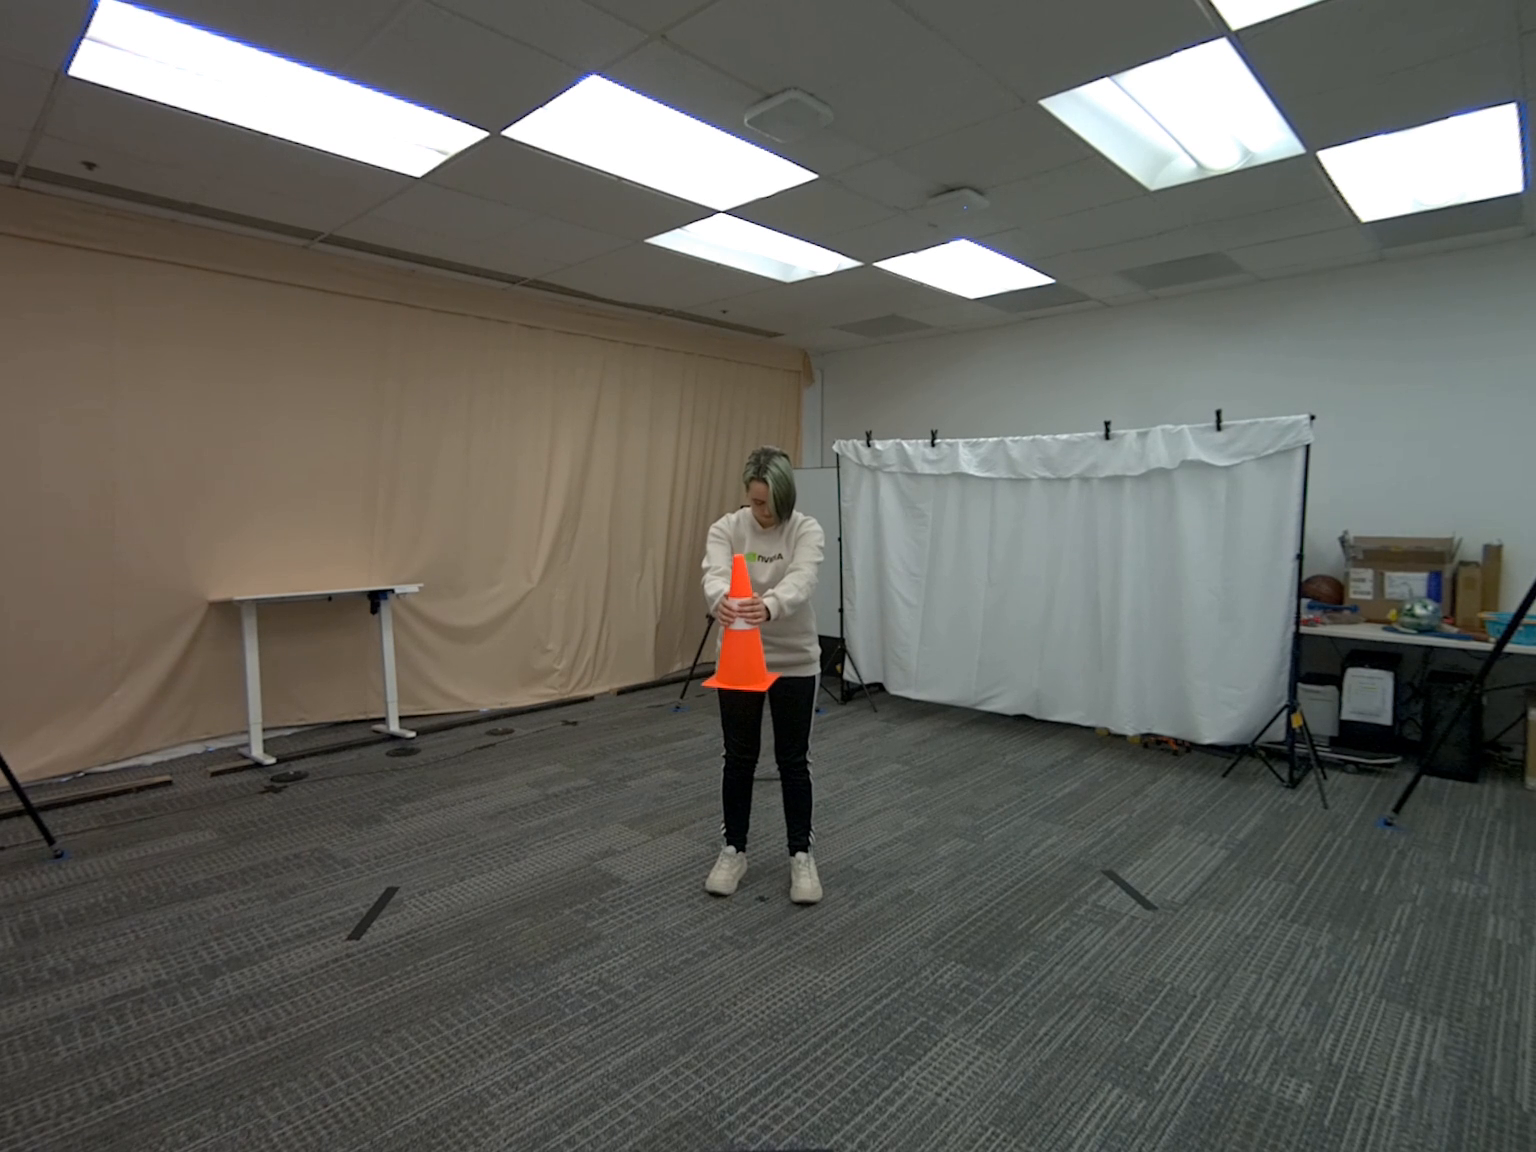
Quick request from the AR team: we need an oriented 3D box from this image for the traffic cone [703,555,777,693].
[{"bbox_3d":[-0.079,0.133,2.522,0.209,0.382,0.200,0,7,17],"label":"traffic cone"}]
